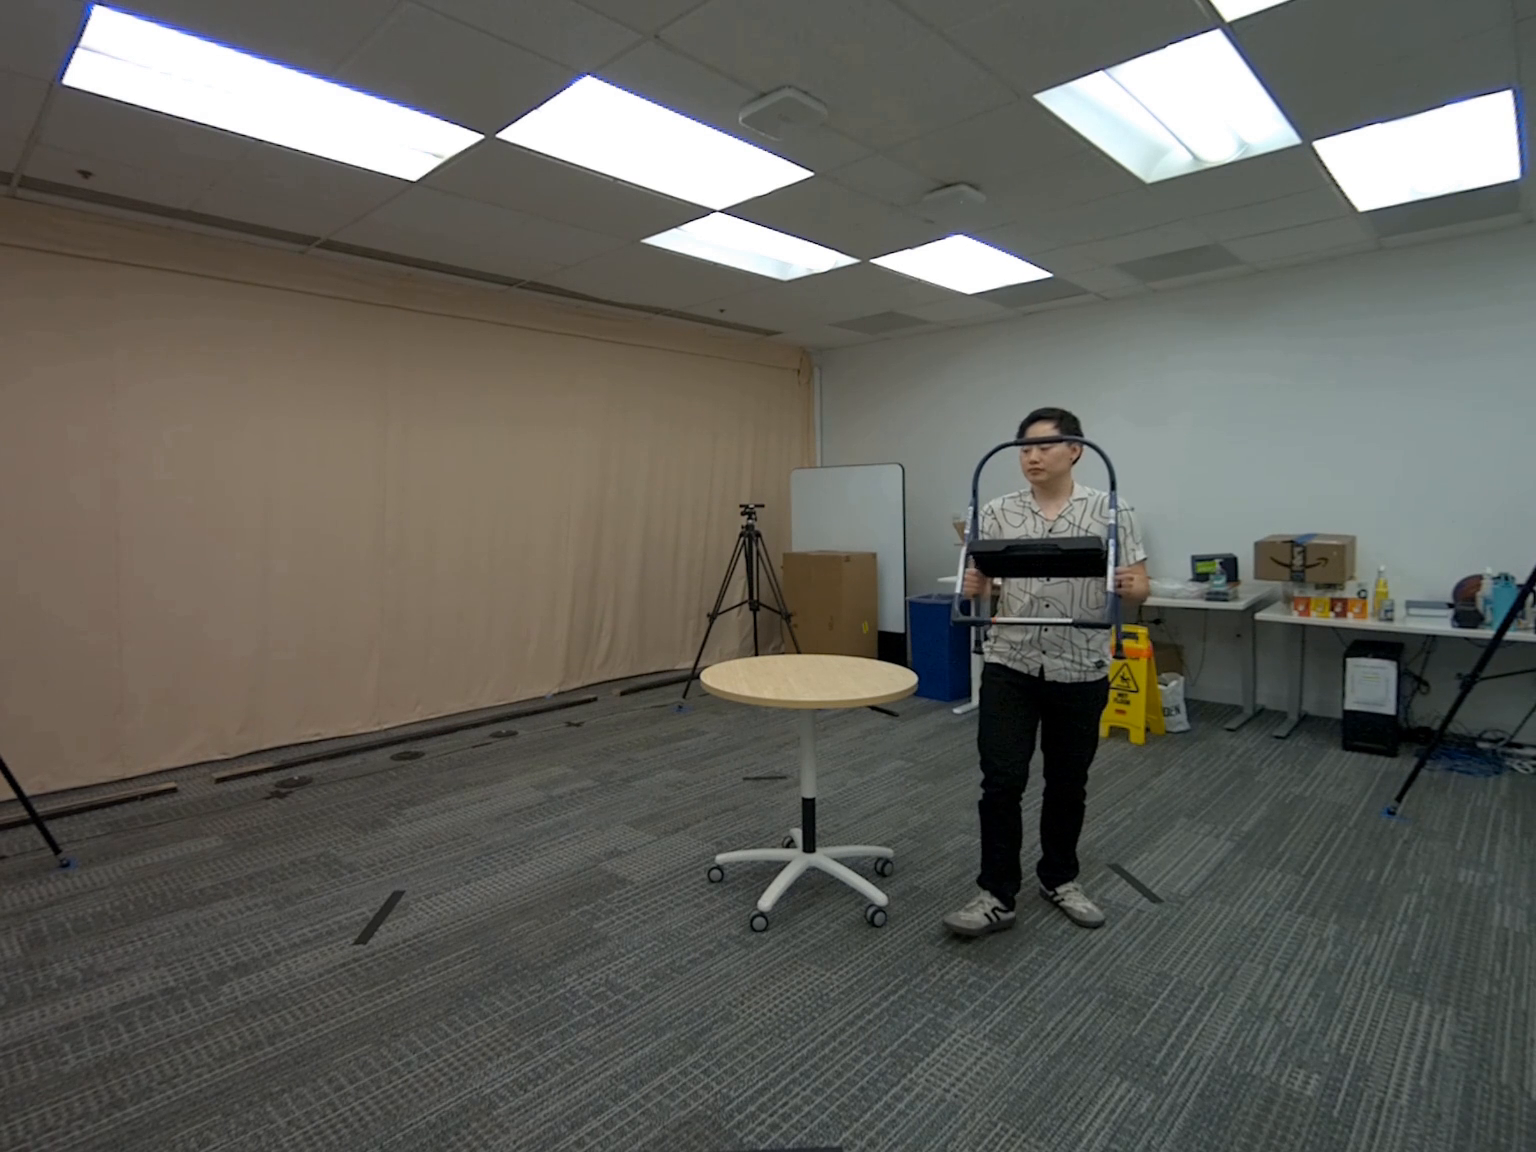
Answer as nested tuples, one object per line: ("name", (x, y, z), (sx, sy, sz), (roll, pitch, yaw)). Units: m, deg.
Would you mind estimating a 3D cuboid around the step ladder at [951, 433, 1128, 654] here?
("step ladder", (0.807, -0.102, 2.471), (0.442, 0.611, 0.337), (-2, -20, 28))
